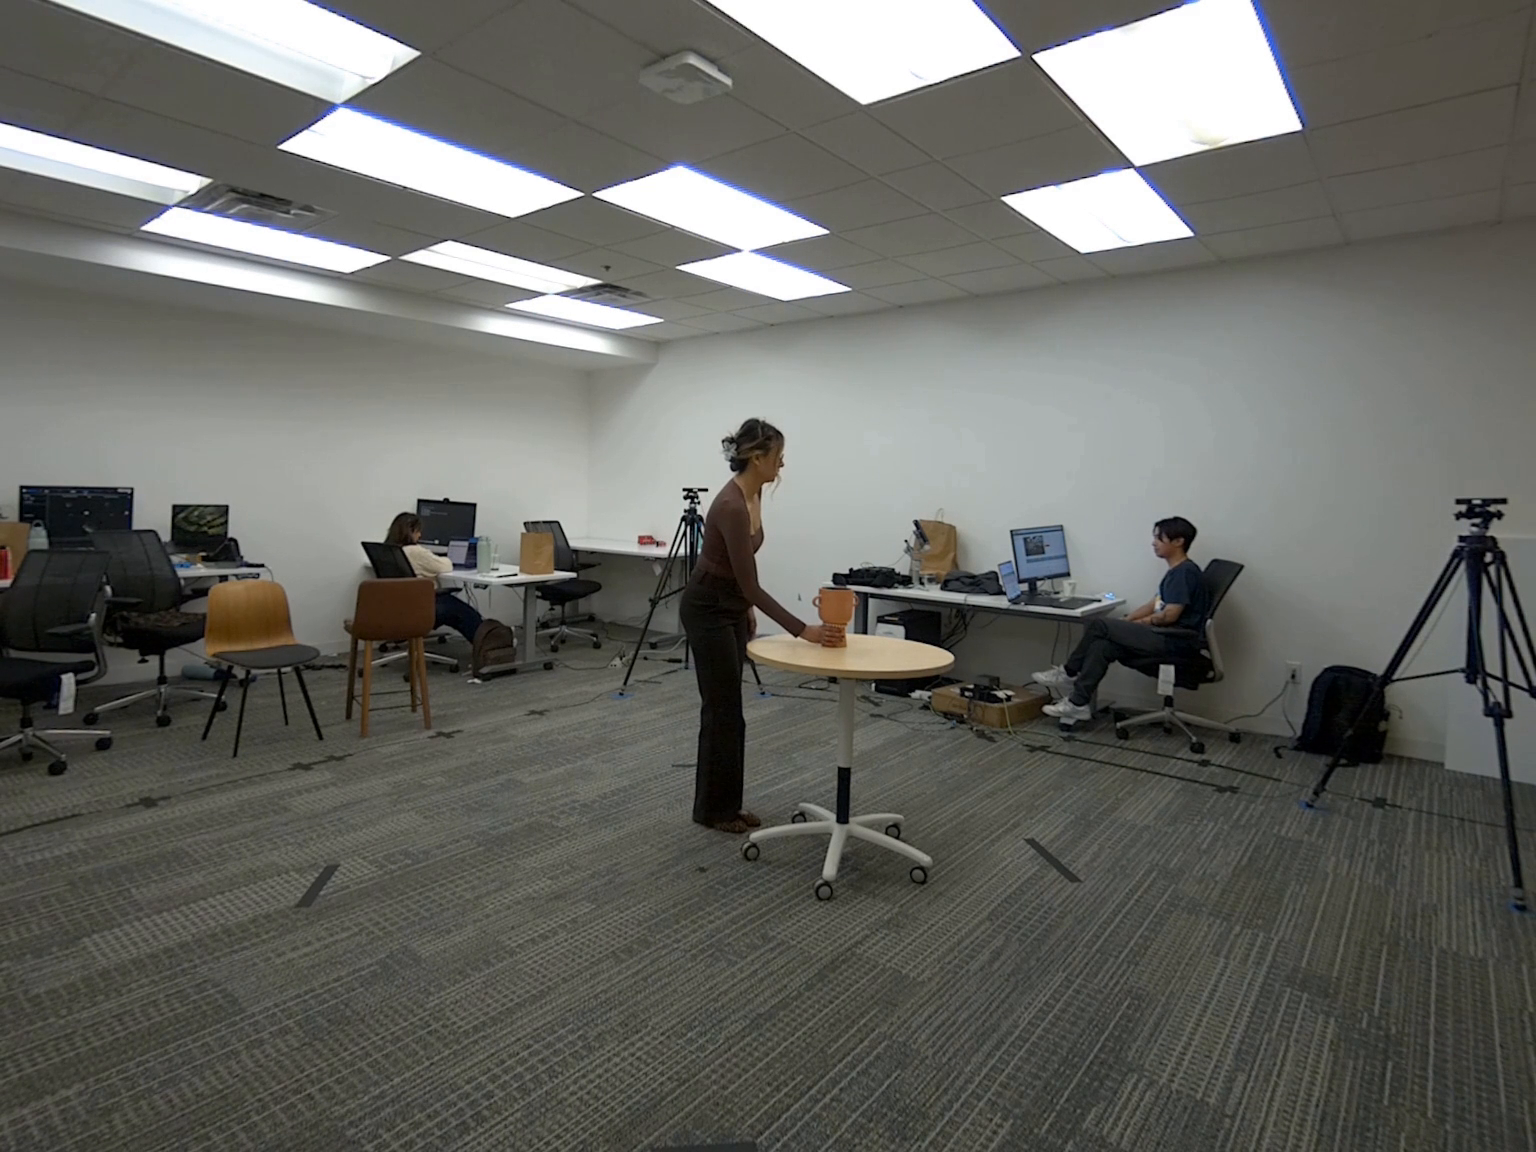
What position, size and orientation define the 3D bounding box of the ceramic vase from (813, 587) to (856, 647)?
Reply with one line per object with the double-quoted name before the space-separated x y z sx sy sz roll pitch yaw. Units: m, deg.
"ceramic vase" 0.244 0.152 3.274 0.162 0.219 0.132 3 3 17
